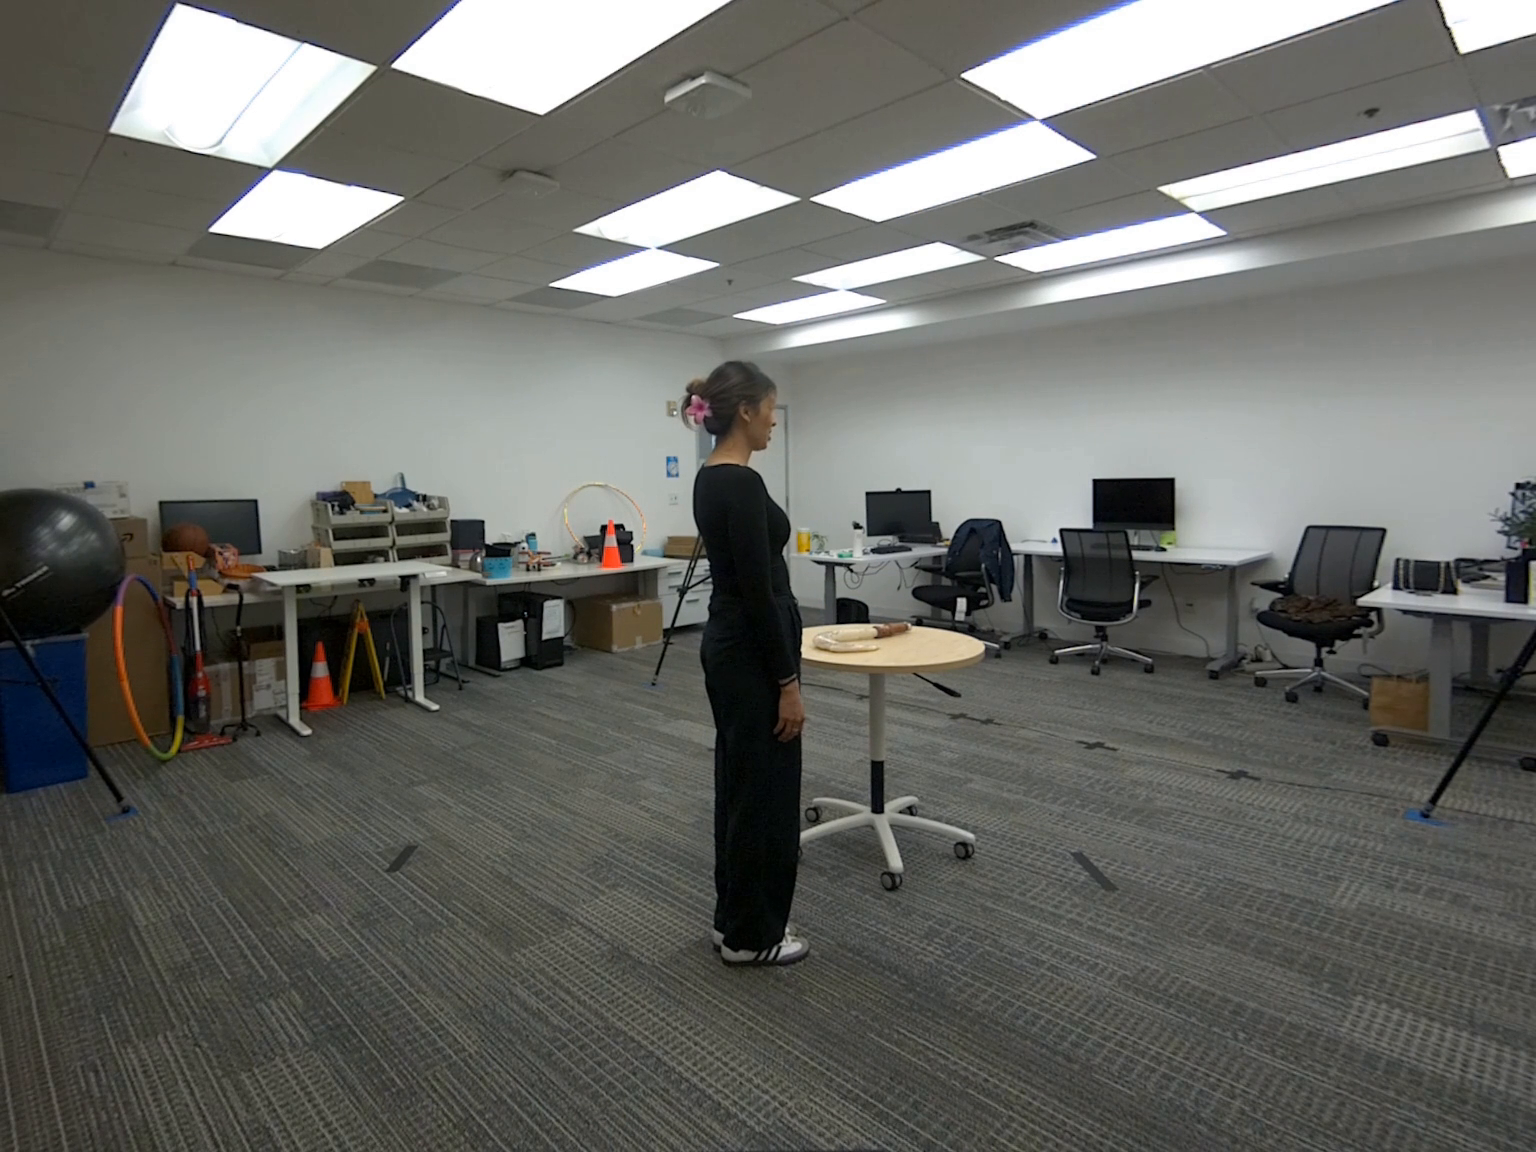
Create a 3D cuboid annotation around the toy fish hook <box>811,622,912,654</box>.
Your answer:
[{"bbox_3d":[0.401,0.233,3.166,0.494,0.048,0.232,-7,16,-37],"label":"toy fish hook"}]
